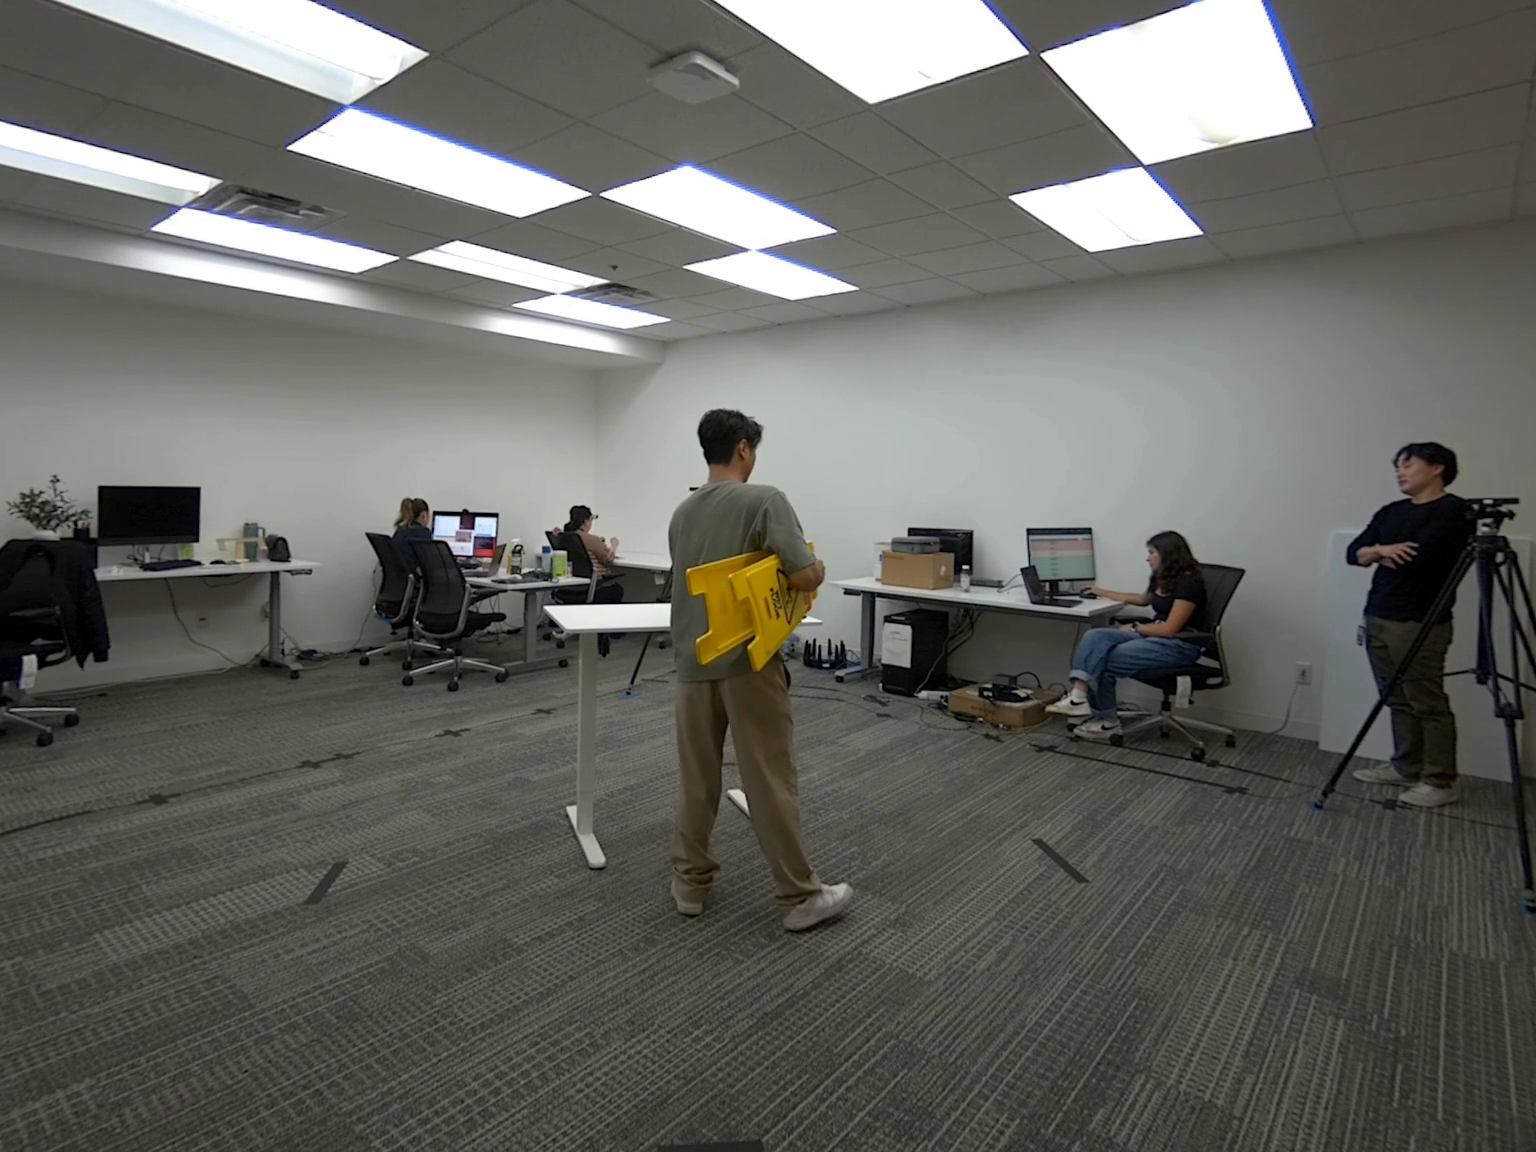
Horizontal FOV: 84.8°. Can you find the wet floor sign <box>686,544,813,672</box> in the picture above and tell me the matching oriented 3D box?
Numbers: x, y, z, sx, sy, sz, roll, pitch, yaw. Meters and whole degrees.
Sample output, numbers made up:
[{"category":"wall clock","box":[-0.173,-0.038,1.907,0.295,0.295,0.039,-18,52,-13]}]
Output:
[{"category":"wet floor sign","box":[-0.014,0.057,2.652,0.298,0.279,0.635,-4,11,32]}]
